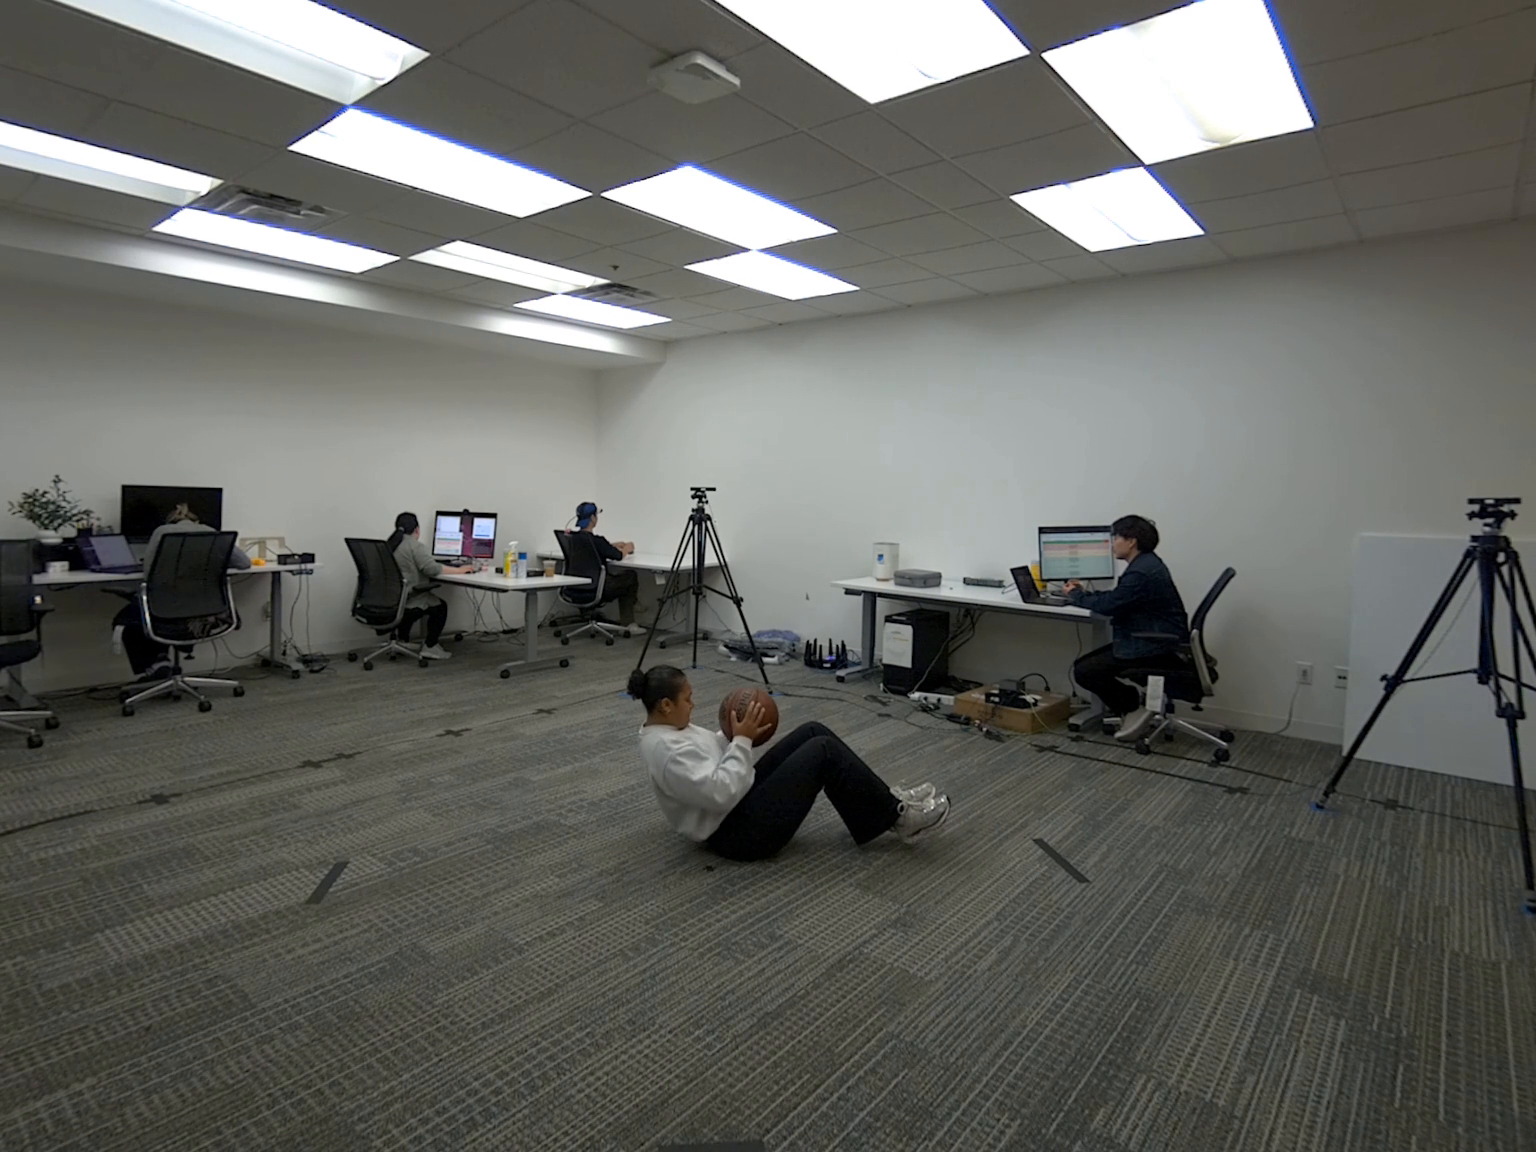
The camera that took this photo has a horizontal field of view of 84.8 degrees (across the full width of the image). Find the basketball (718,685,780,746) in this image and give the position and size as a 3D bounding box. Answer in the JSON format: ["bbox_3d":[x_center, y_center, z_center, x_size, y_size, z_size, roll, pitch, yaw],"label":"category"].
[{"bbox_3d":[-0.096,0.572,3.343,0.235,0.235,0.237,1,4,-2],"label":"basketball"}]
